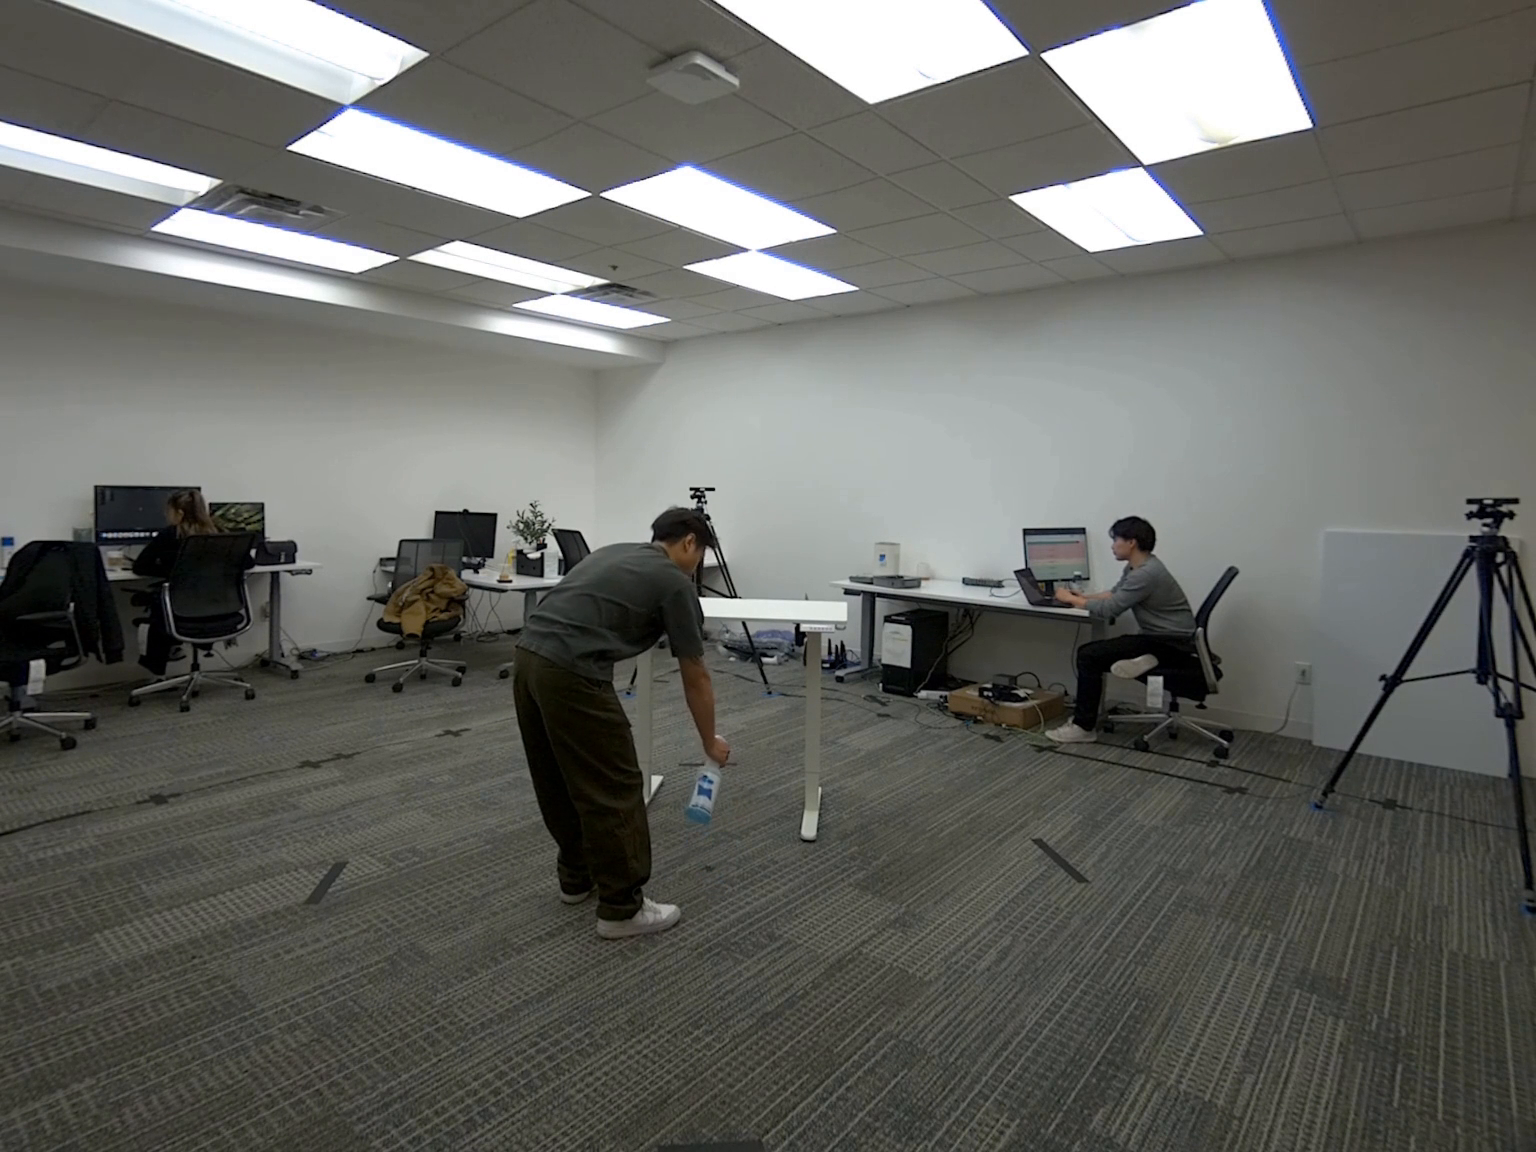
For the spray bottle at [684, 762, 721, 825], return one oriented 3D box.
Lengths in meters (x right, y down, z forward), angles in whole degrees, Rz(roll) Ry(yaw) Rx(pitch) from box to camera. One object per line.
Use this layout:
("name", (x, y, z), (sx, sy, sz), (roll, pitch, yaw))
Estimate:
("spray bottle", (-0.211, 0.674, 2.825), (0.088, 0.302, 0.088), (33, -41, -19))
